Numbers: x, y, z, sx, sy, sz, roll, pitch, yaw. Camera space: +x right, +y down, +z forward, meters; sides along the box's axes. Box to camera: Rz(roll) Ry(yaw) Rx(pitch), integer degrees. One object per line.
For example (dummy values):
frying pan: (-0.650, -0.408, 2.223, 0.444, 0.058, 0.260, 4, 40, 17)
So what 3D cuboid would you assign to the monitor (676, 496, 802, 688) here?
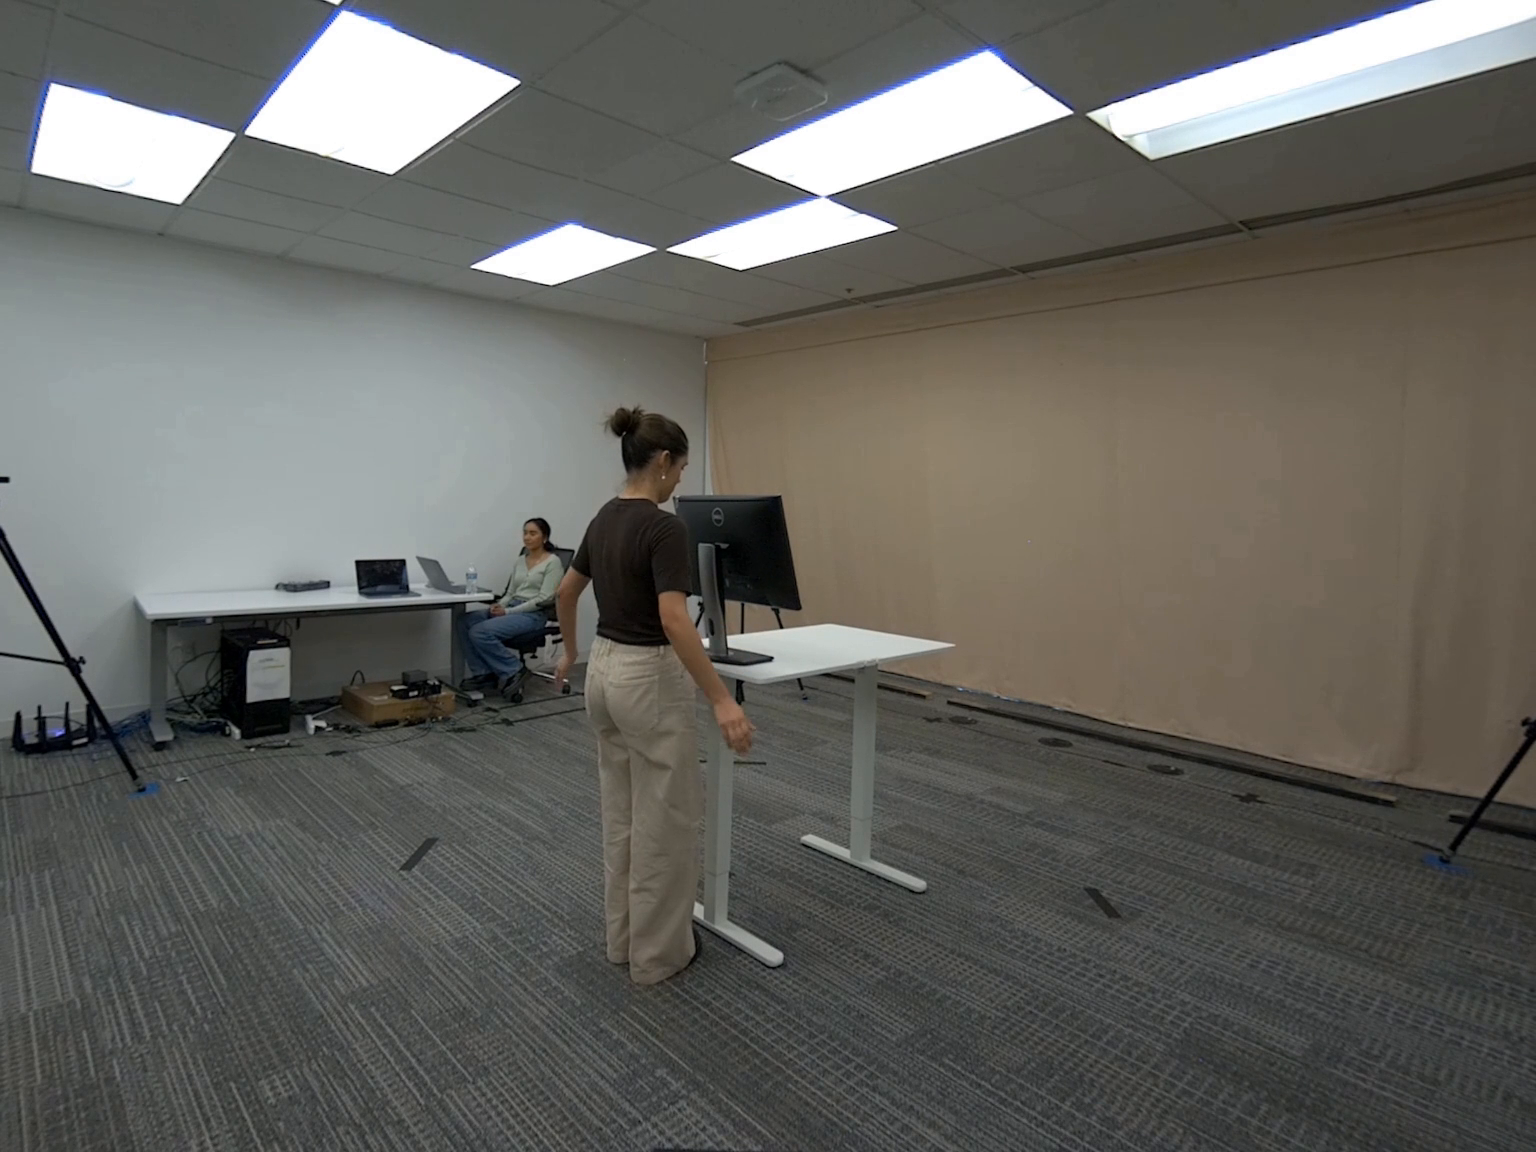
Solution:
monitor: (-0.134, 0.009, 2.643, 0.183, 0.521, 0.552, -3, 5, -42)
